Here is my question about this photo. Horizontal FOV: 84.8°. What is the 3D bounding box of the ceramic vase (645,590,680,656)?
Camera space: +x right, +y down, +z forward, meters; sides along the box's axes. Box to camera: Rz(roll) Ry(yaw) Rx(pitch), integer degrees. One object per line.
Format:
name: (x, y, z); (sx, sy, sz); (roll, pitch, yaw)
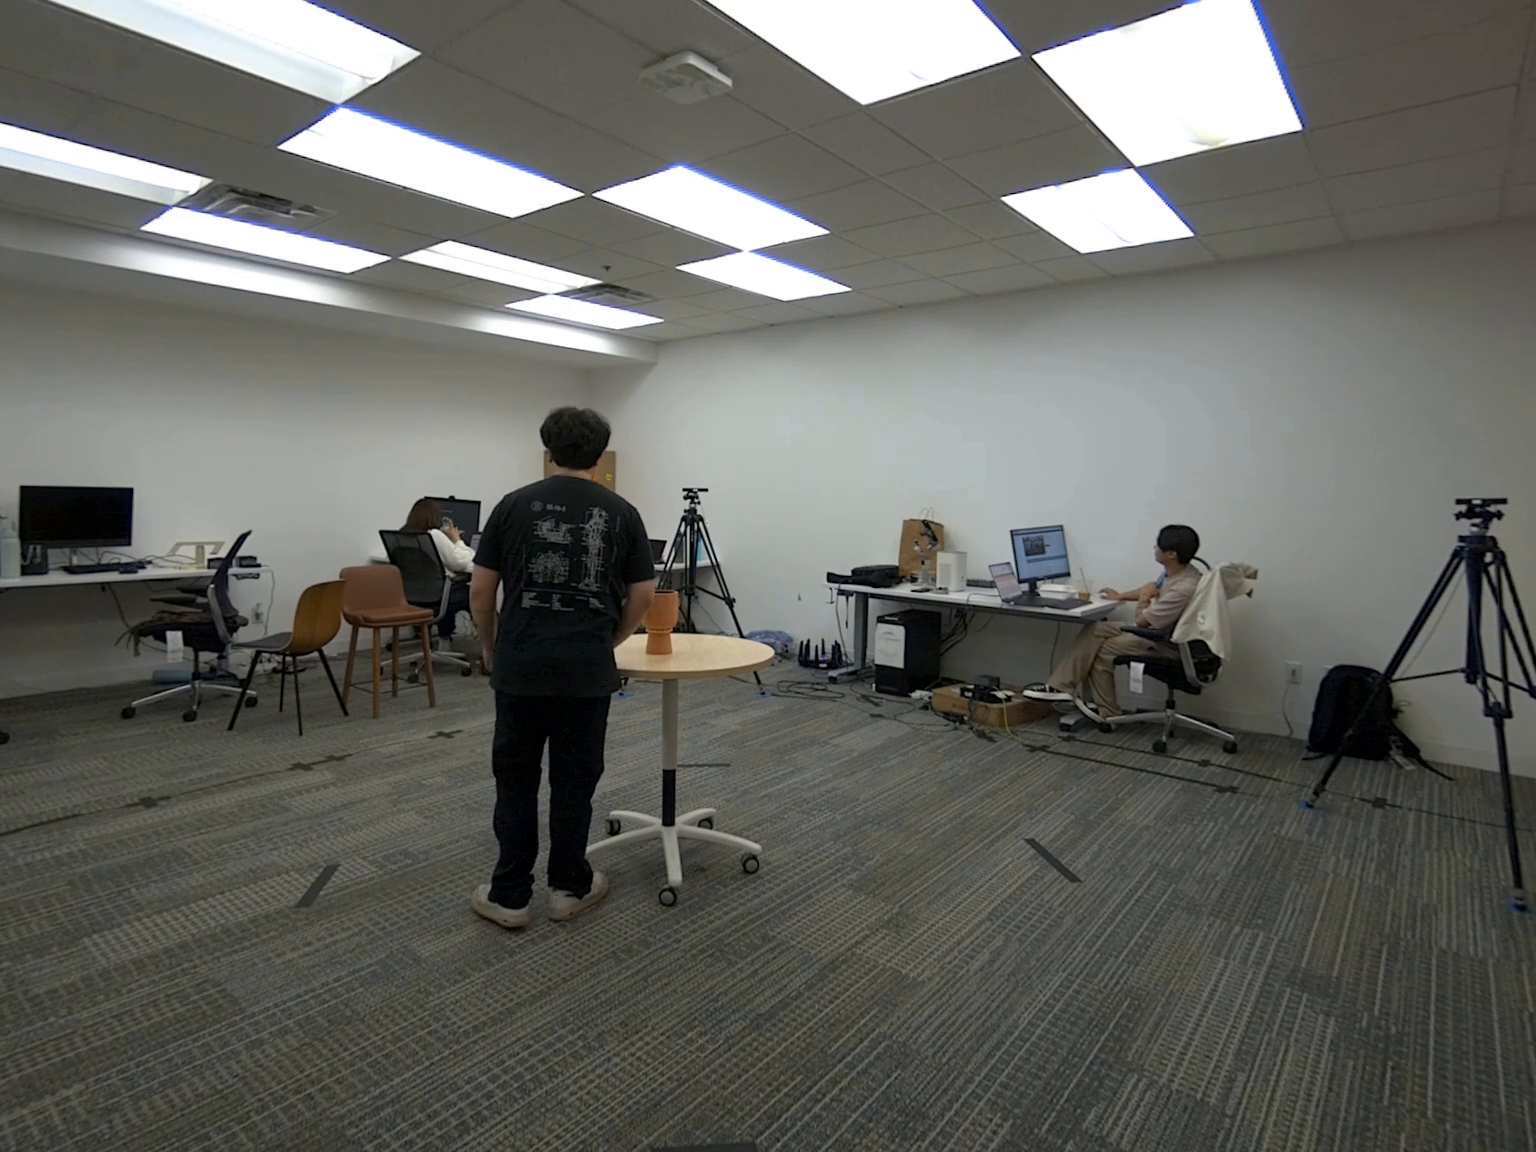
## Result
ceramic vase: (-0.408, 0.168, 3.082); (0.157, 0.219, 0.136); (-1, 3, -10)
